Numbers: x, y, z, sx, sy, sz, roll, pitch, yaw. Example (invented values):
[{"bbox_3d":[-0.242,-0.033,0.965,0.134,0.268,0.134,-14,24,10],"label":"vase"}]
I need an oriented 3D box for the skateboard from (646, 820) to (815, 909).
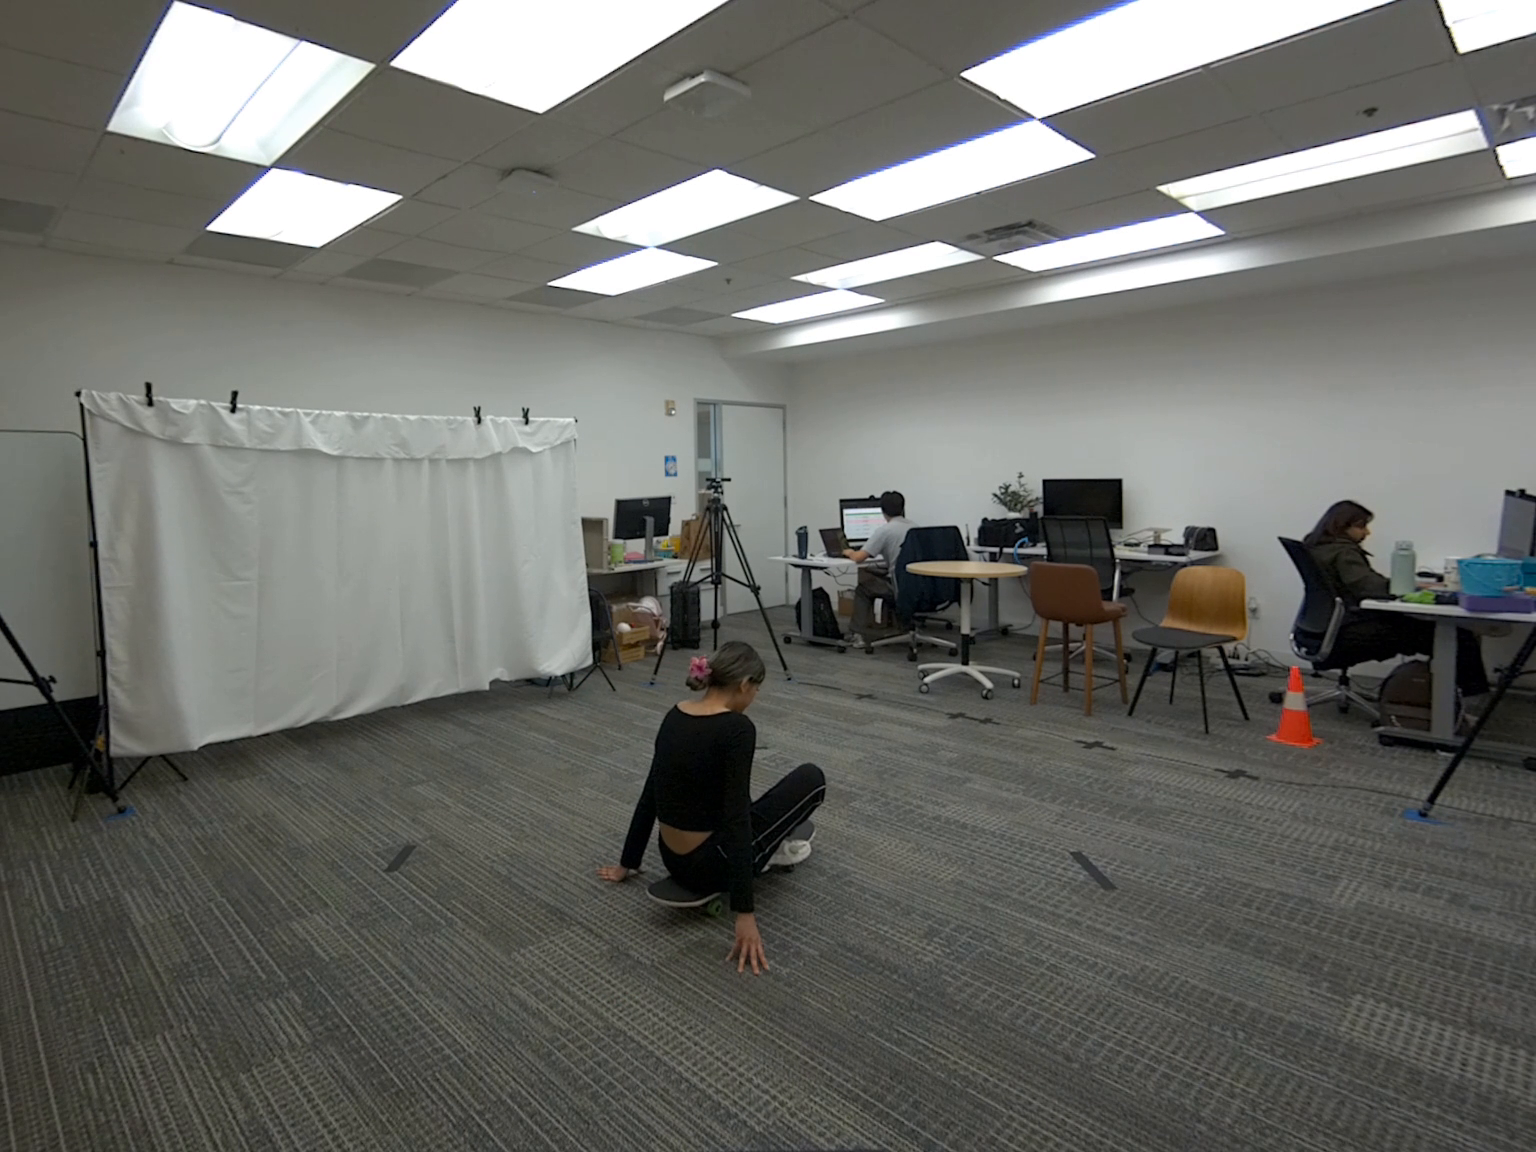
[{"bbox_3d":[-0.111,1.007,2.943,0.199,0.109,0.767,5,11,37],"label":"skateboard"}]
